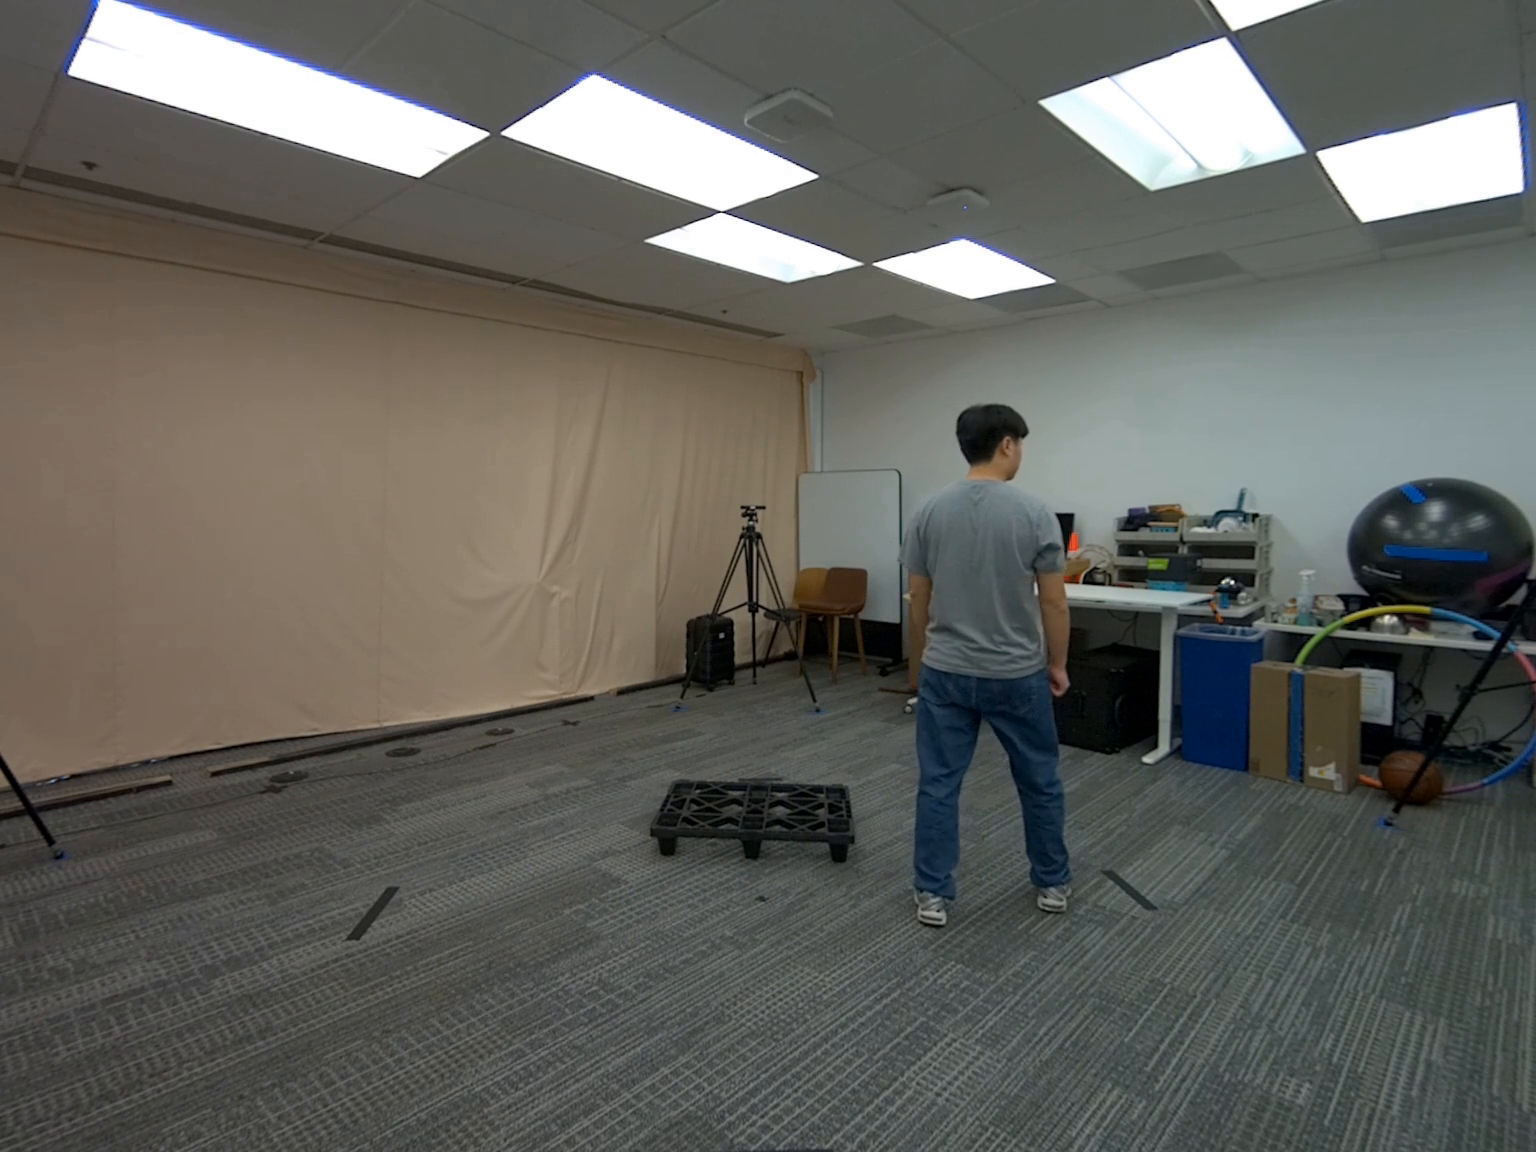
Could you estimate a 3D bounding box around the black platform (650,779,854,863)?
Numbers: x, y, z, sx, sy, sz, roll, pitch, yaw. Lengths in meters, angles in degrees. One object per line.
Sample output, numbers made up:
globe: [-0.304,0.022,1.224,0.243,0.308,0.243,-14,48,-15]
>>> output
black platform: [-0.047,1.027,3.540,0.811,0.143,0.603,0,5,5]
